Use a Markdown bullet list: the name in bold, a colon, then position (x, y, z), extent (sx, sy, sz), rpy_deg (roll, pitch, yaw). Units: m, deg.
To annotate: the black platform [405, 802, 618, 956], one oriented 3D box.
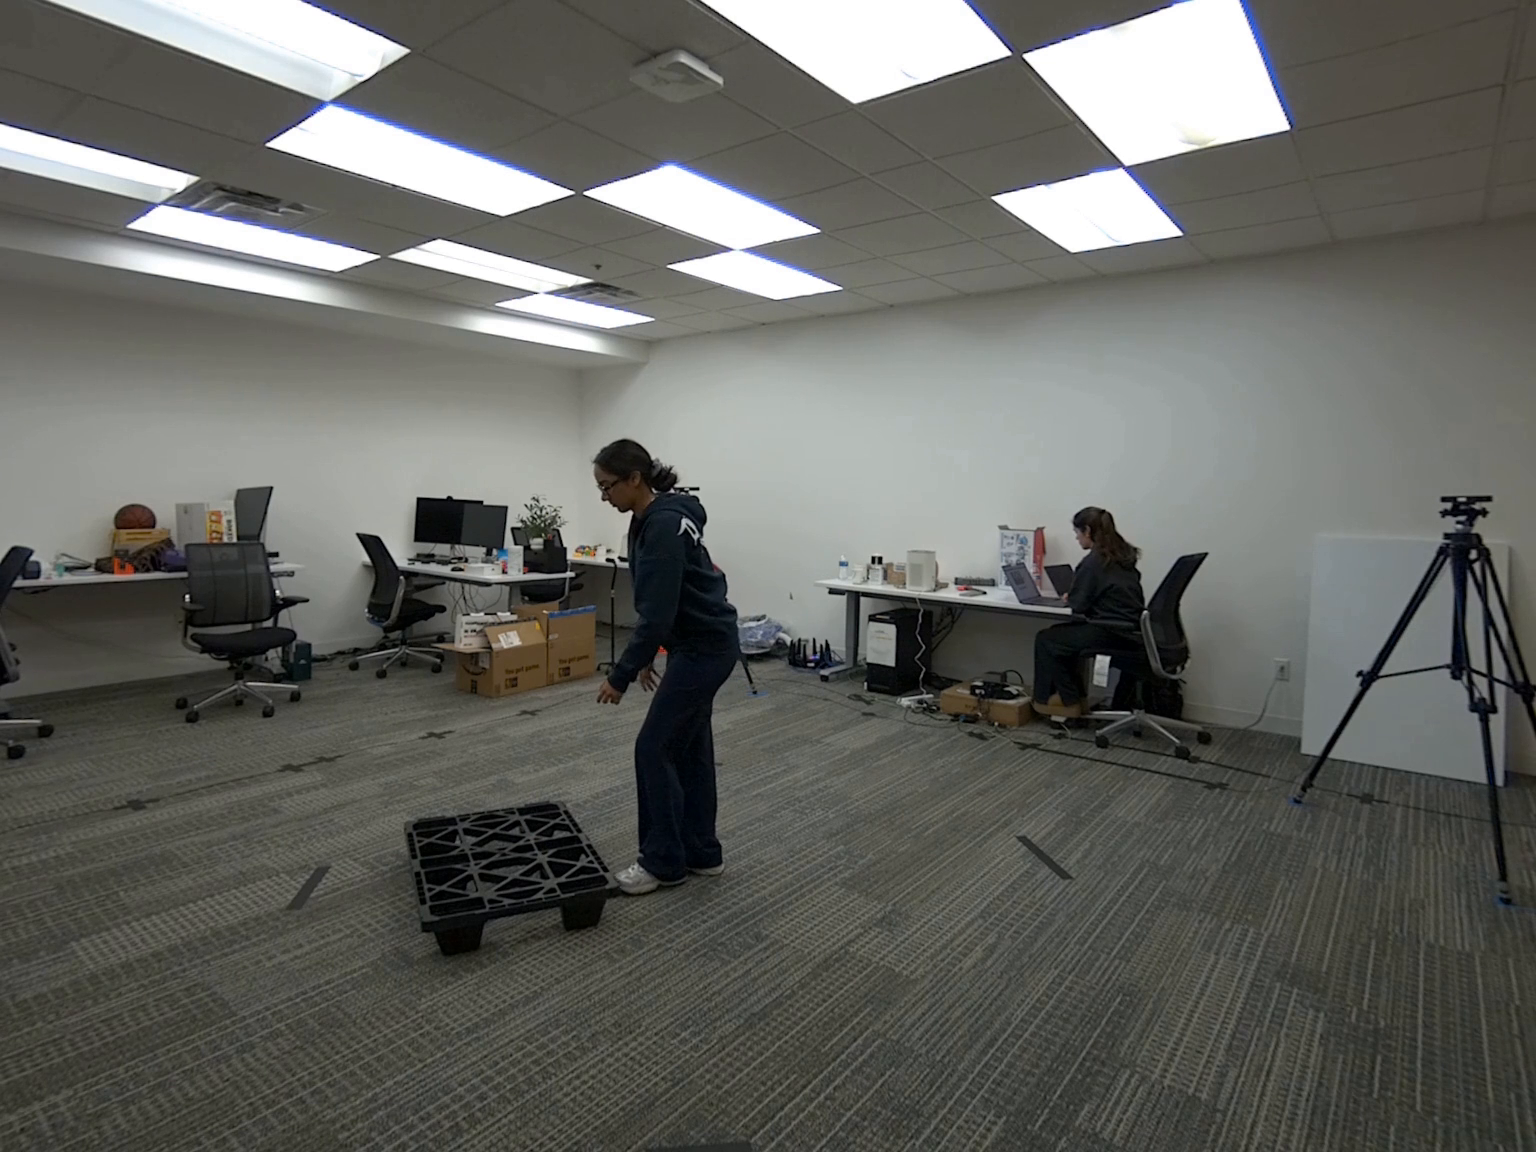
- **black platform**: position (-0.922, 1.007, 2.929), extent (0.591, 0.143, 0.828), rpy_deg (-2, 7, -26)
